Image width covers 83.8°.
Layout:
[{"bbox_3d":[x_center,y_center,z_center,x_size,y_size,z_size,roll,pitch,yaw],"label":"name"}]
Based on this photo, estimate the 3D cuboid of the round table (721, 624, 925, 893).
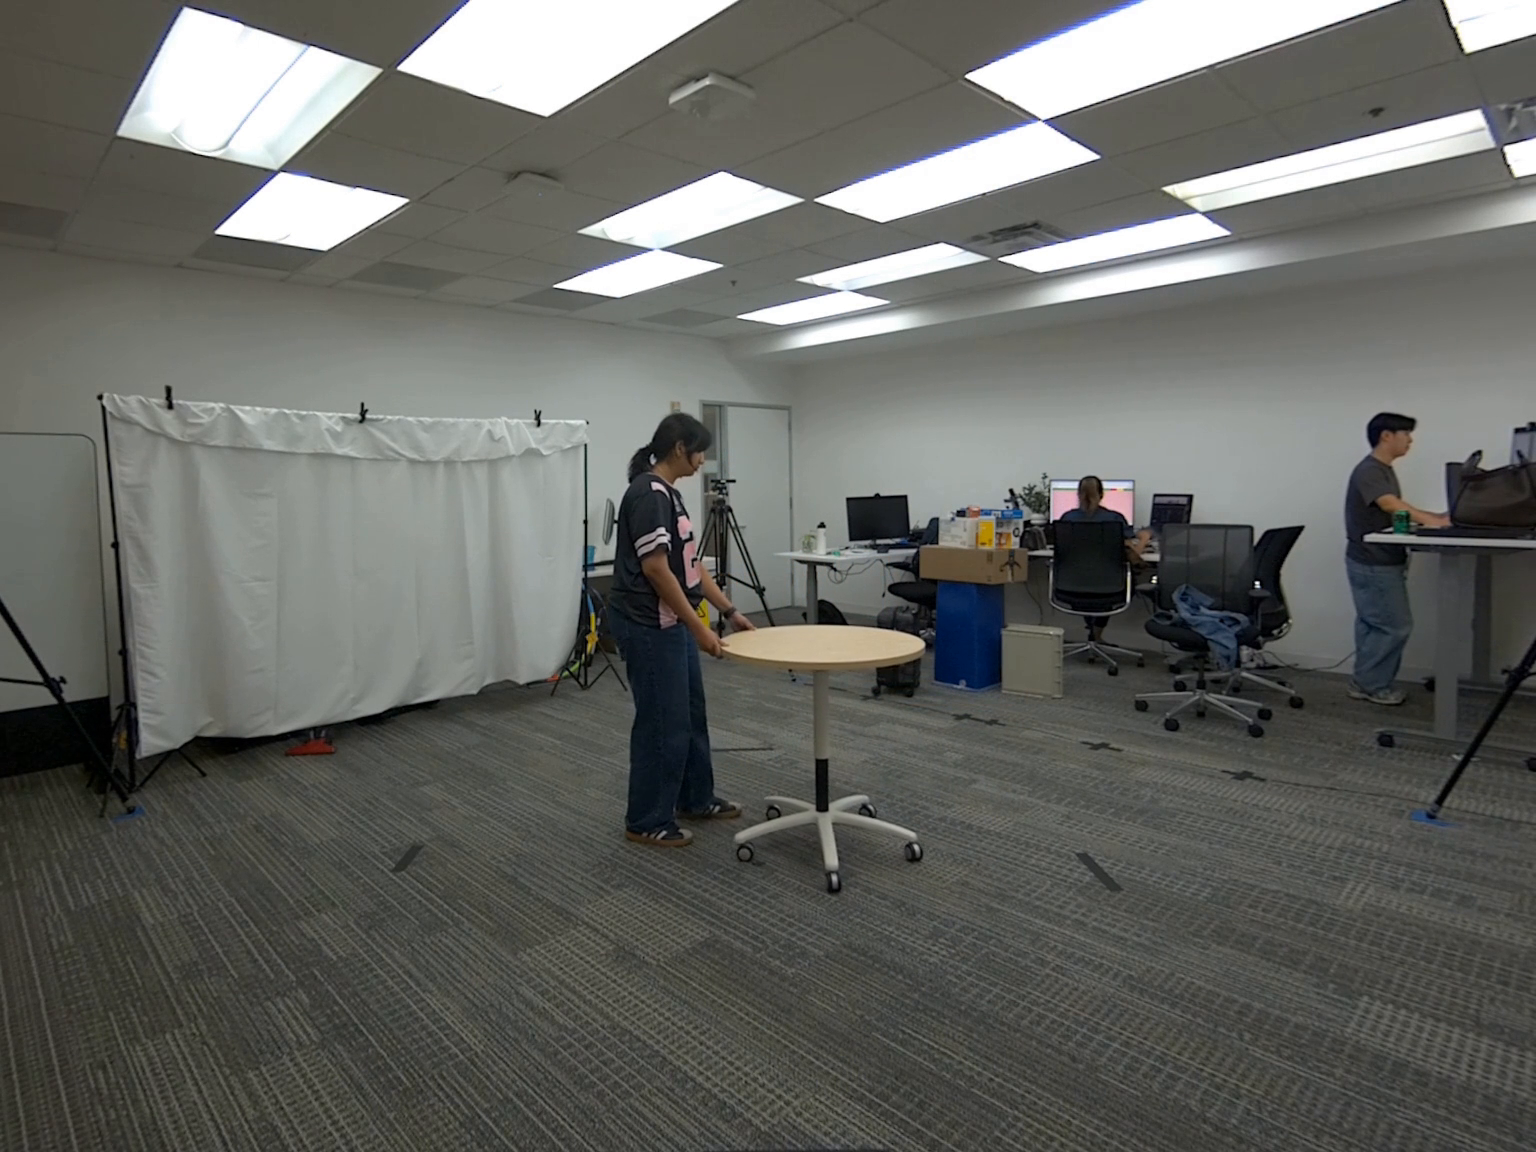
[{"bbox_3d":[0.205,0.641,3.213,0.763,0.791,0.767,-1,4,-2],"label":"round table"}]
